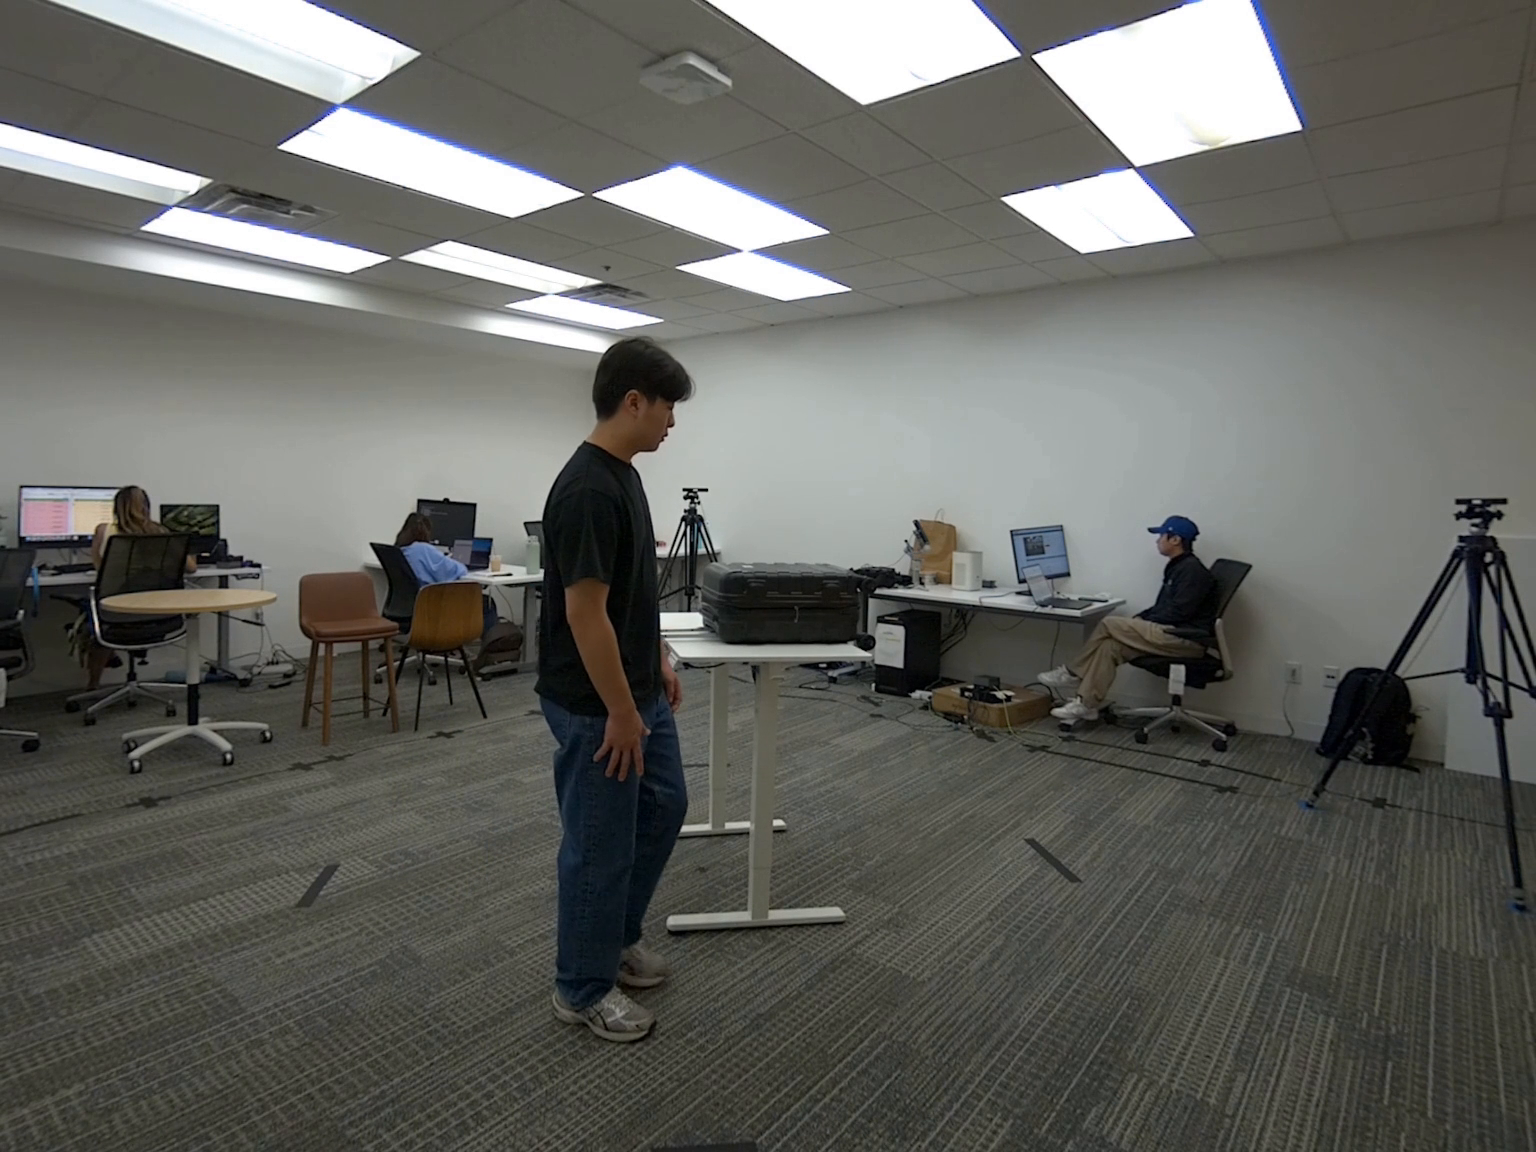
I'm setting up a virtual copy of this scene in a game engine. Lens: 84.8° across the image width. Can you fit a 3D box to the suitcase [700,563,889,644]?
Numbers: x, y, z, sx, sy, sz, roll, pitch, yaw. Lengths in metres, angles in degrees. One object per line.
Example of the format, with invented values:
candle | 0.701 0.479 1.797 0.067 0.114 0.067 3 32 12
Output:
suitcase | -0.155 0.084 2.887 0.963 0.256 0.391 2 5 -14
